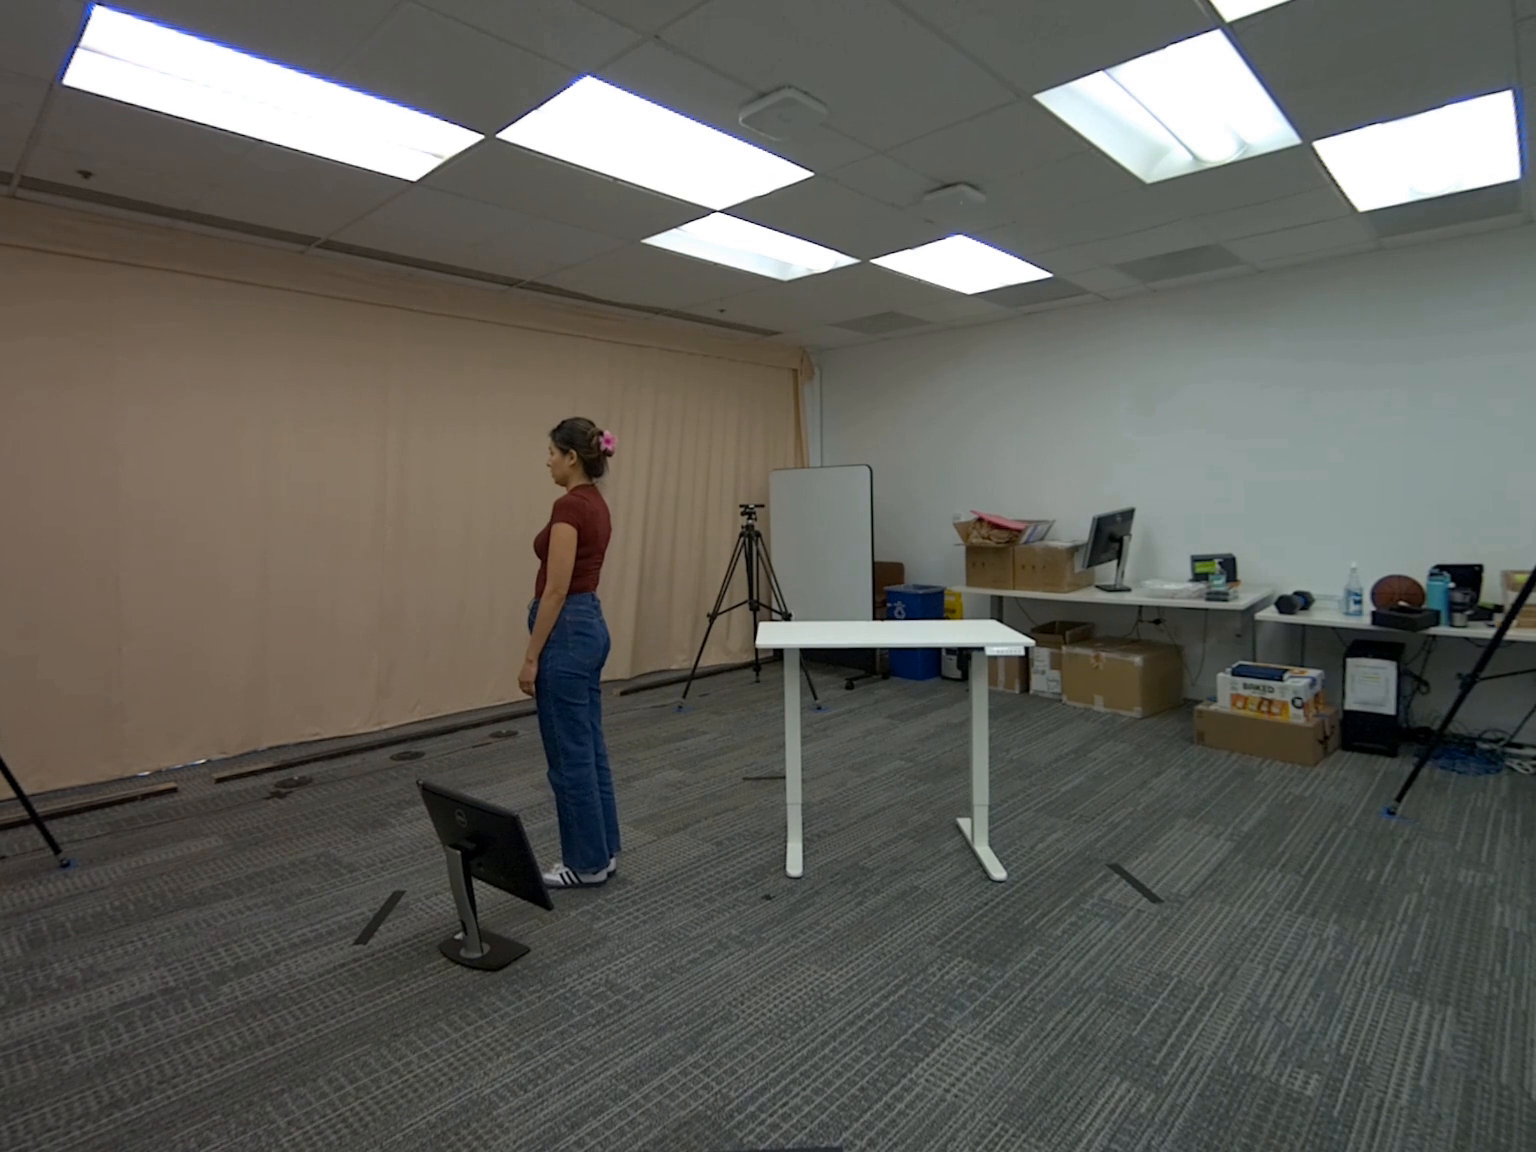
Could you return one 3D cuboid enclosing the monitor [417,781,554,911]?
[{"bbox_3d":[-0.917,0.931,2.643,0.556,0.520,0.182,1,7,36],"label":"monitor"}]
